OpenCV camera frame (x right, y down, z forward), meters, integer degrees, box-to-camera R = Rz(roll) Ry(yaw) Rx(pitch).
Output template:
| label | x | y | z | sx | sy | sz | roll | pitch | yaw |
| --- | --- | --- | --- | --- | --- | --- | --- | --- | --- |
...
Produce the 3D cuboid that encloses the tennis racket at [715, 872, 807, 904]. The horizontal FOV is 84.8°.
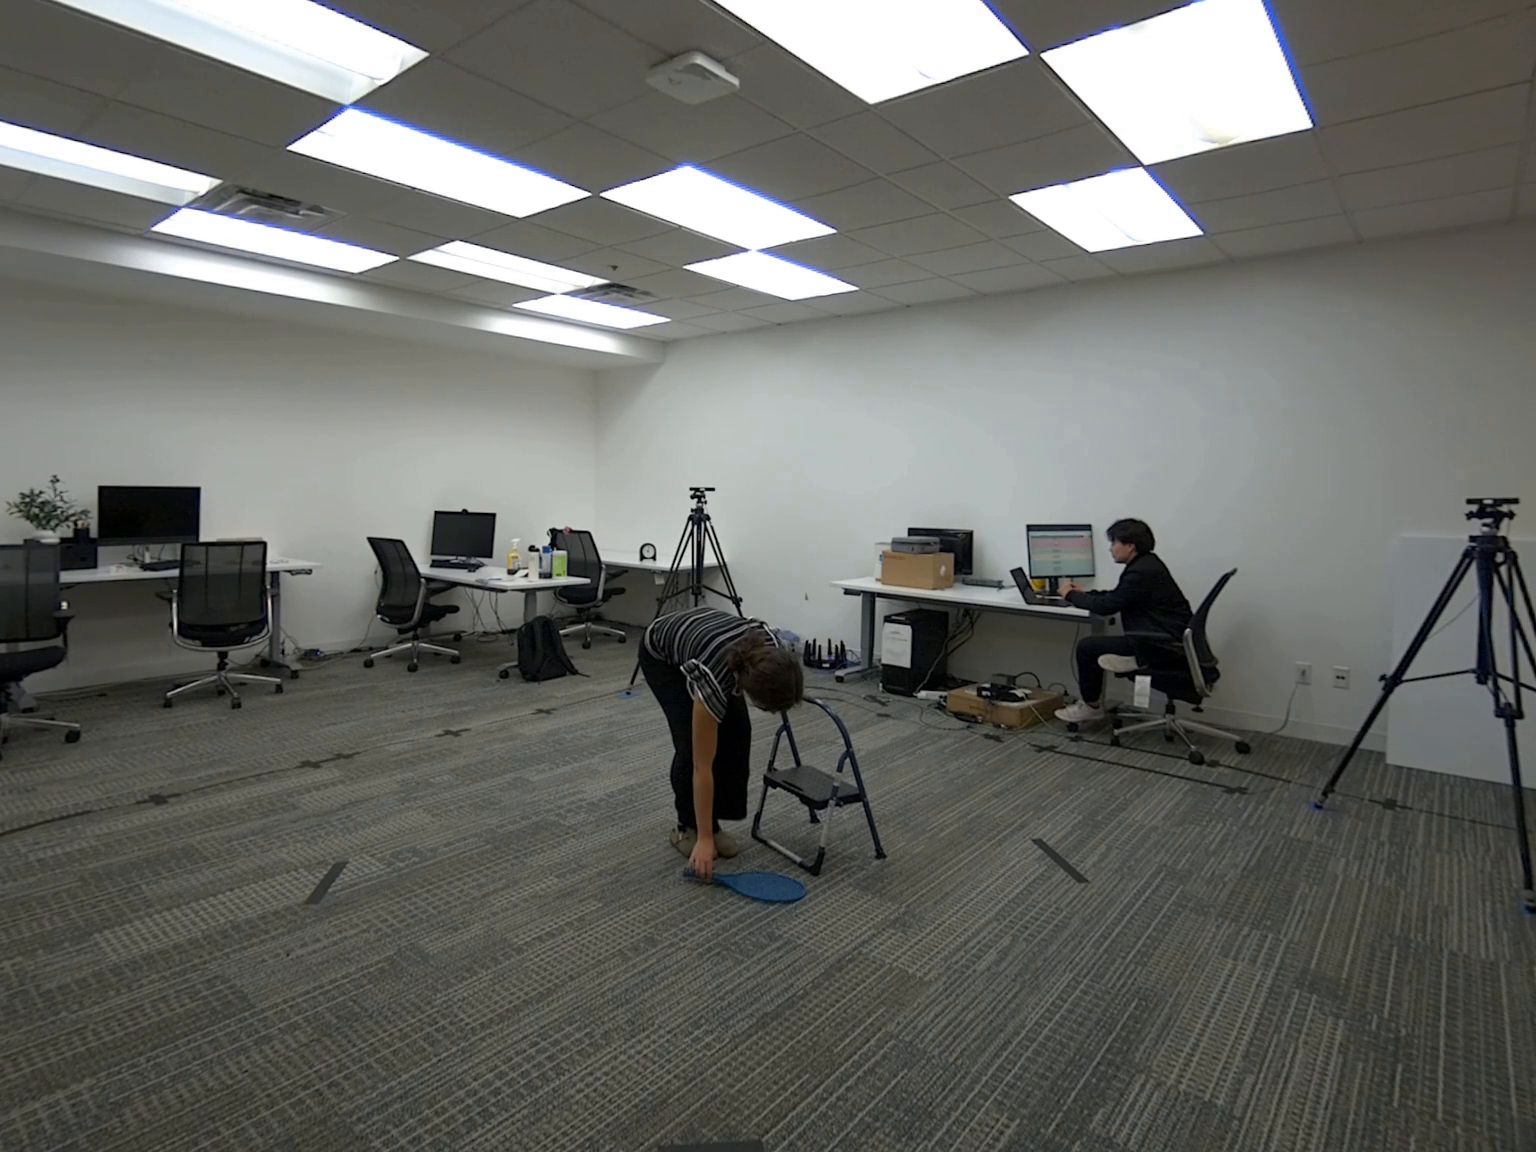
| label | x | y | z | sx | sy | sz | roll | pitch | yaw |
| --- | --- | --- | --- | --- | --- | --- | --- | --- | --- |
| tennis racket | -0.085 | 1.060 | 2.974 | 0.439 | 0.031 | 0.212 | 5 | 7 | 12 |
